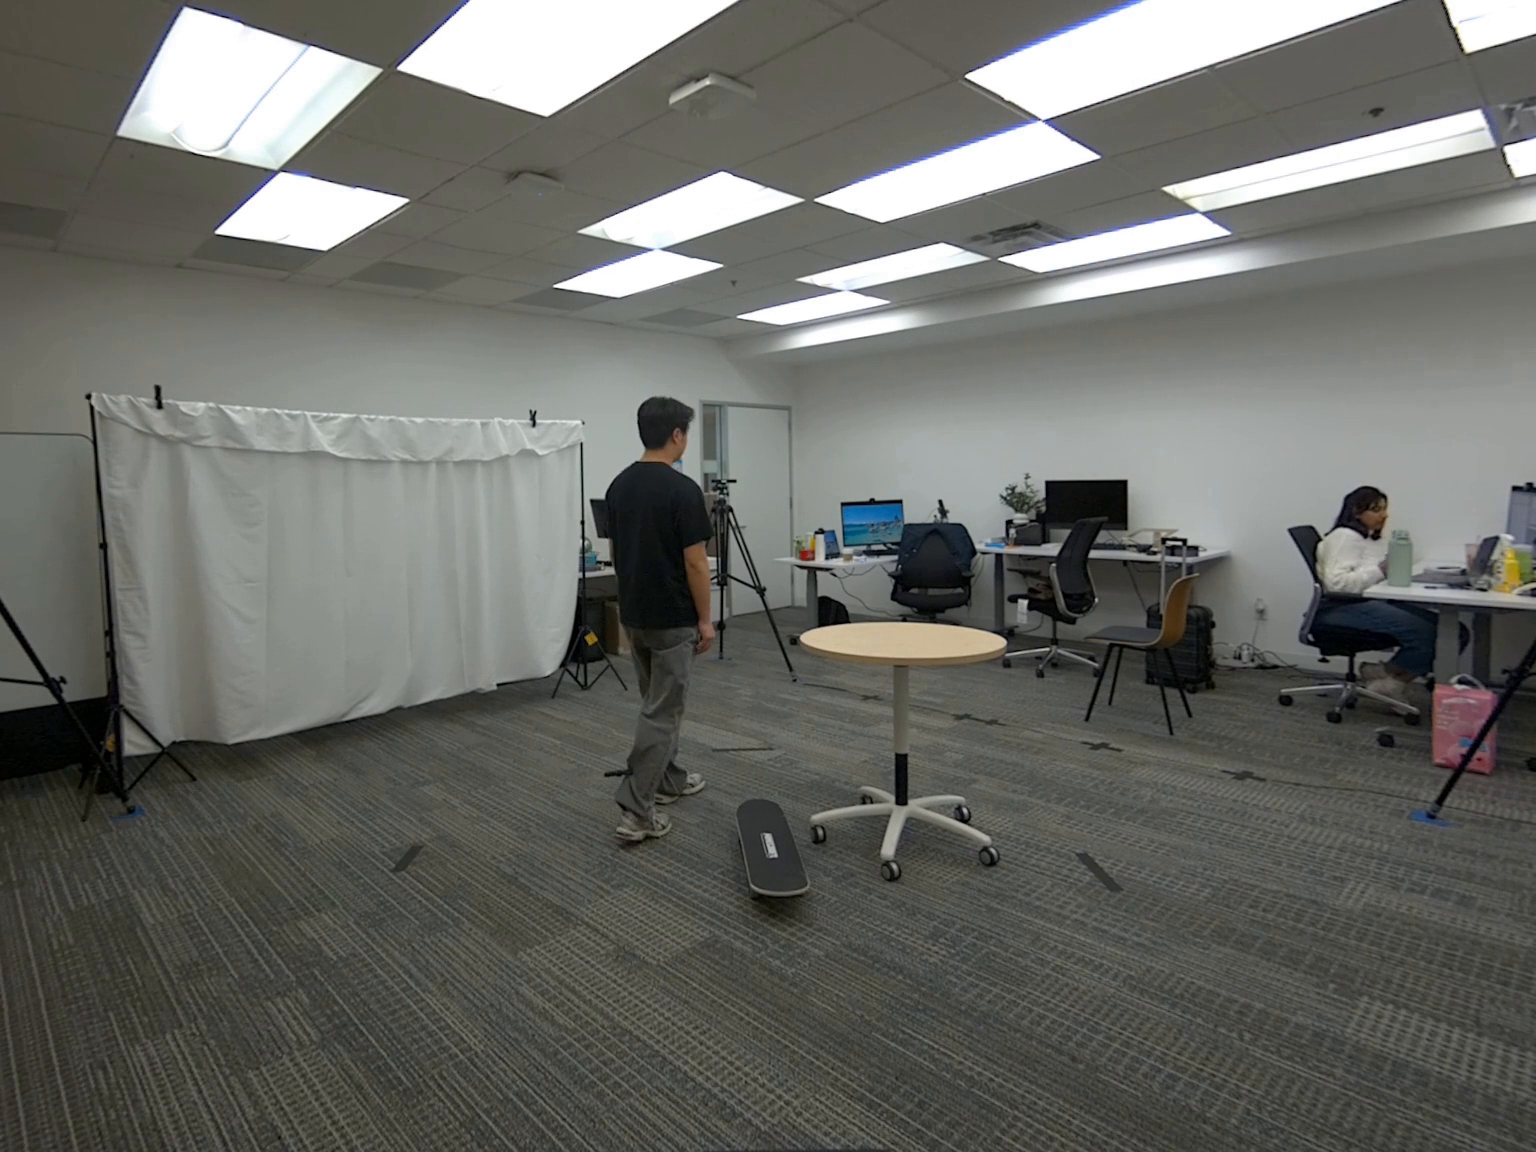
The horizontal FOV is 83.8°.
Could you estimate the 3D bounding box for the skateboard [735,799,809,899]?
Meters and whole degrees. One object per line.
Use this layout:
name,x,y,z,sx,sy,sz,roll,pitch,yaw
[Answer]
skateboard,0.011,0.995,3.055,0.192,0.110,0.793,-1,6,-7
